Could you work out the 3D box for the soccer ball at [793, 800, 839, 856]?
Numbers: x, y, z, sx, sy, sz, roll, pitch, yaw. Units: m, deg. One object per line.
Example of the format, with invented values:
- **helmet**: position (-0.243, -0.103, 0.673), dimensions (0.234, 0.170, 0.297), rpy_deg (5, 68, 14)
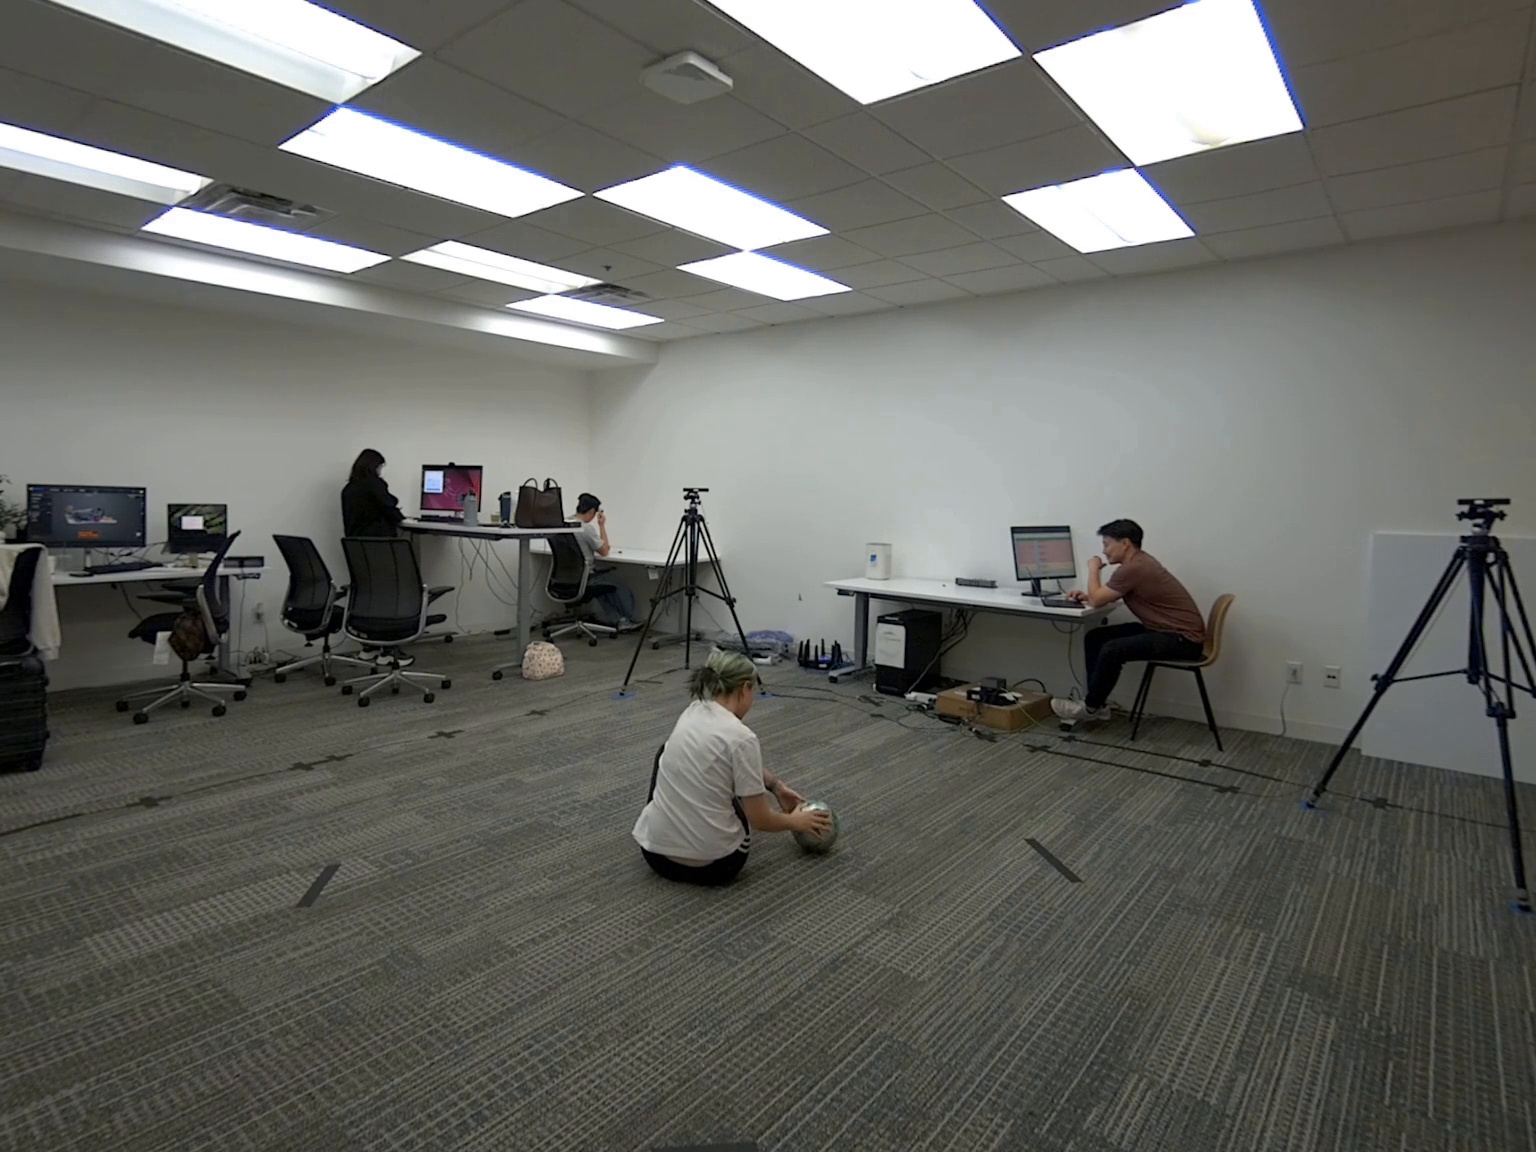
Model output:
- **soccer ball**: position (0.176, 0.970, 3.297), dimensions (0.187, 0.187, 0.188), rpy_deg (1, 4, -2)
